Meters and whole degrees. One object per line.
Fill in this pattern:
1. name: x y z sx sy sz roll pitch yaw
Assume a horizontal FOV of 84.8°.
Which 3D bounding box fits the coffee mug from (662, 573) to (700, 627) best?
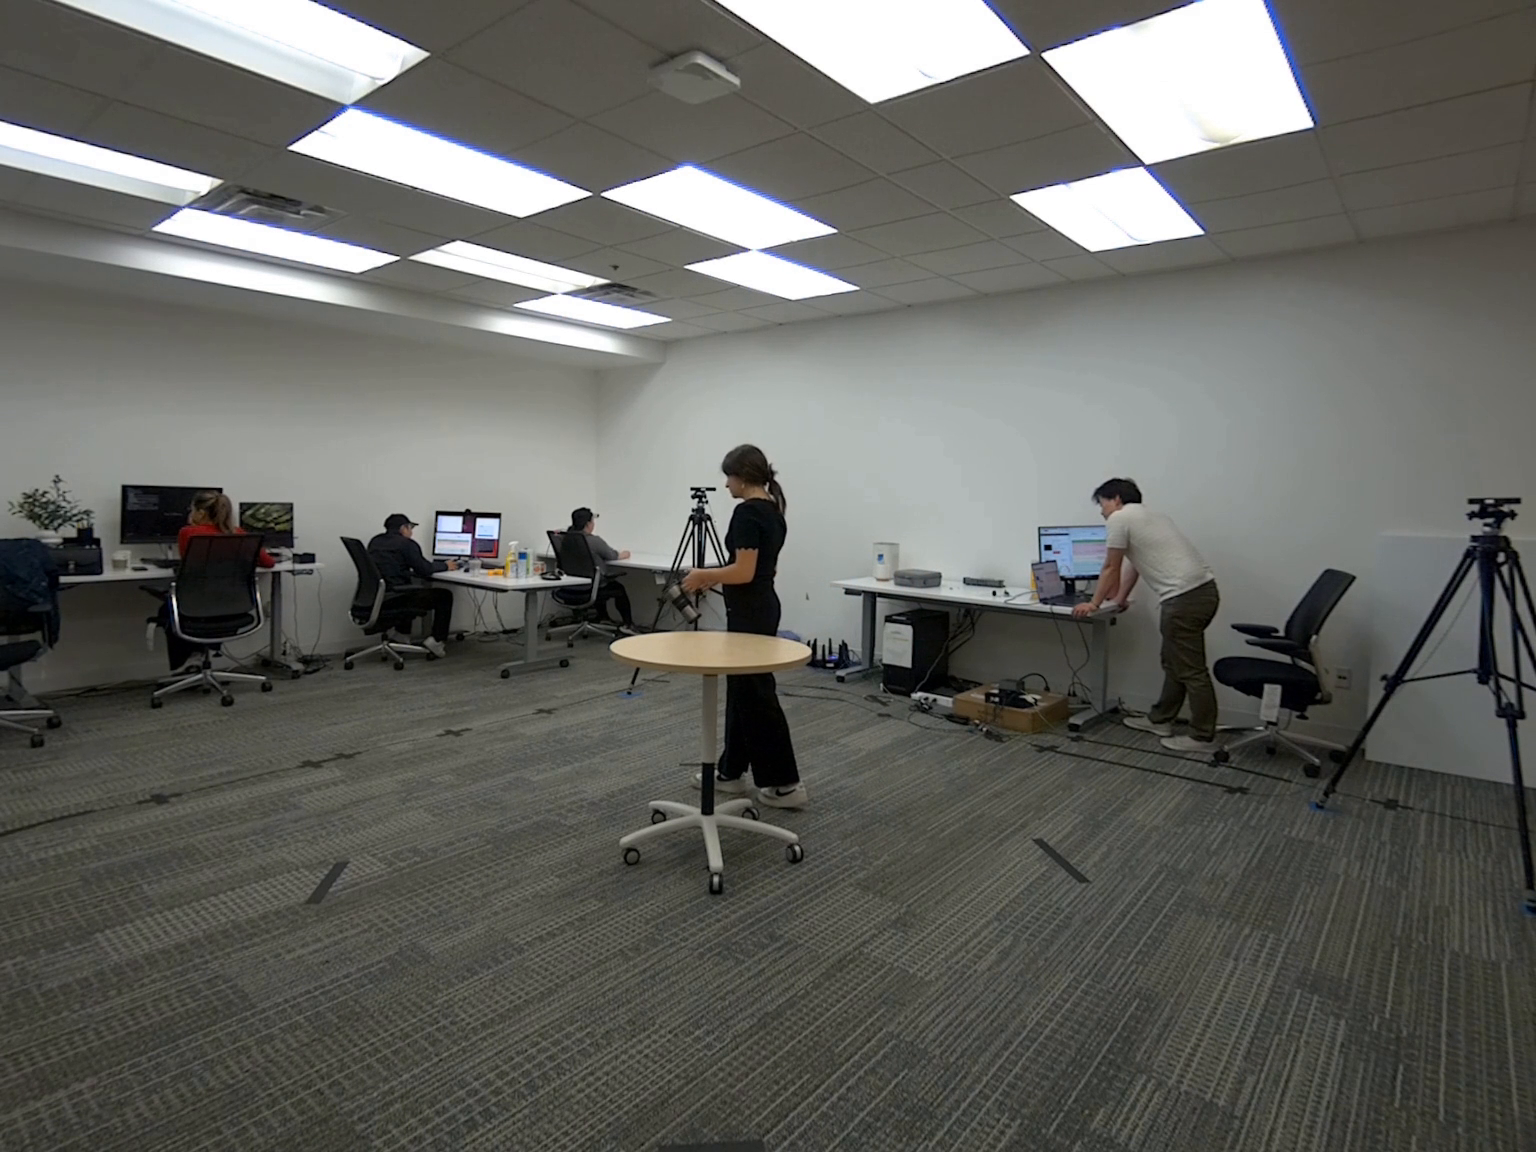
1. coffee mug: -0.379 0.104 3.821 0.122 0.206 0.086 -40 -9 25
